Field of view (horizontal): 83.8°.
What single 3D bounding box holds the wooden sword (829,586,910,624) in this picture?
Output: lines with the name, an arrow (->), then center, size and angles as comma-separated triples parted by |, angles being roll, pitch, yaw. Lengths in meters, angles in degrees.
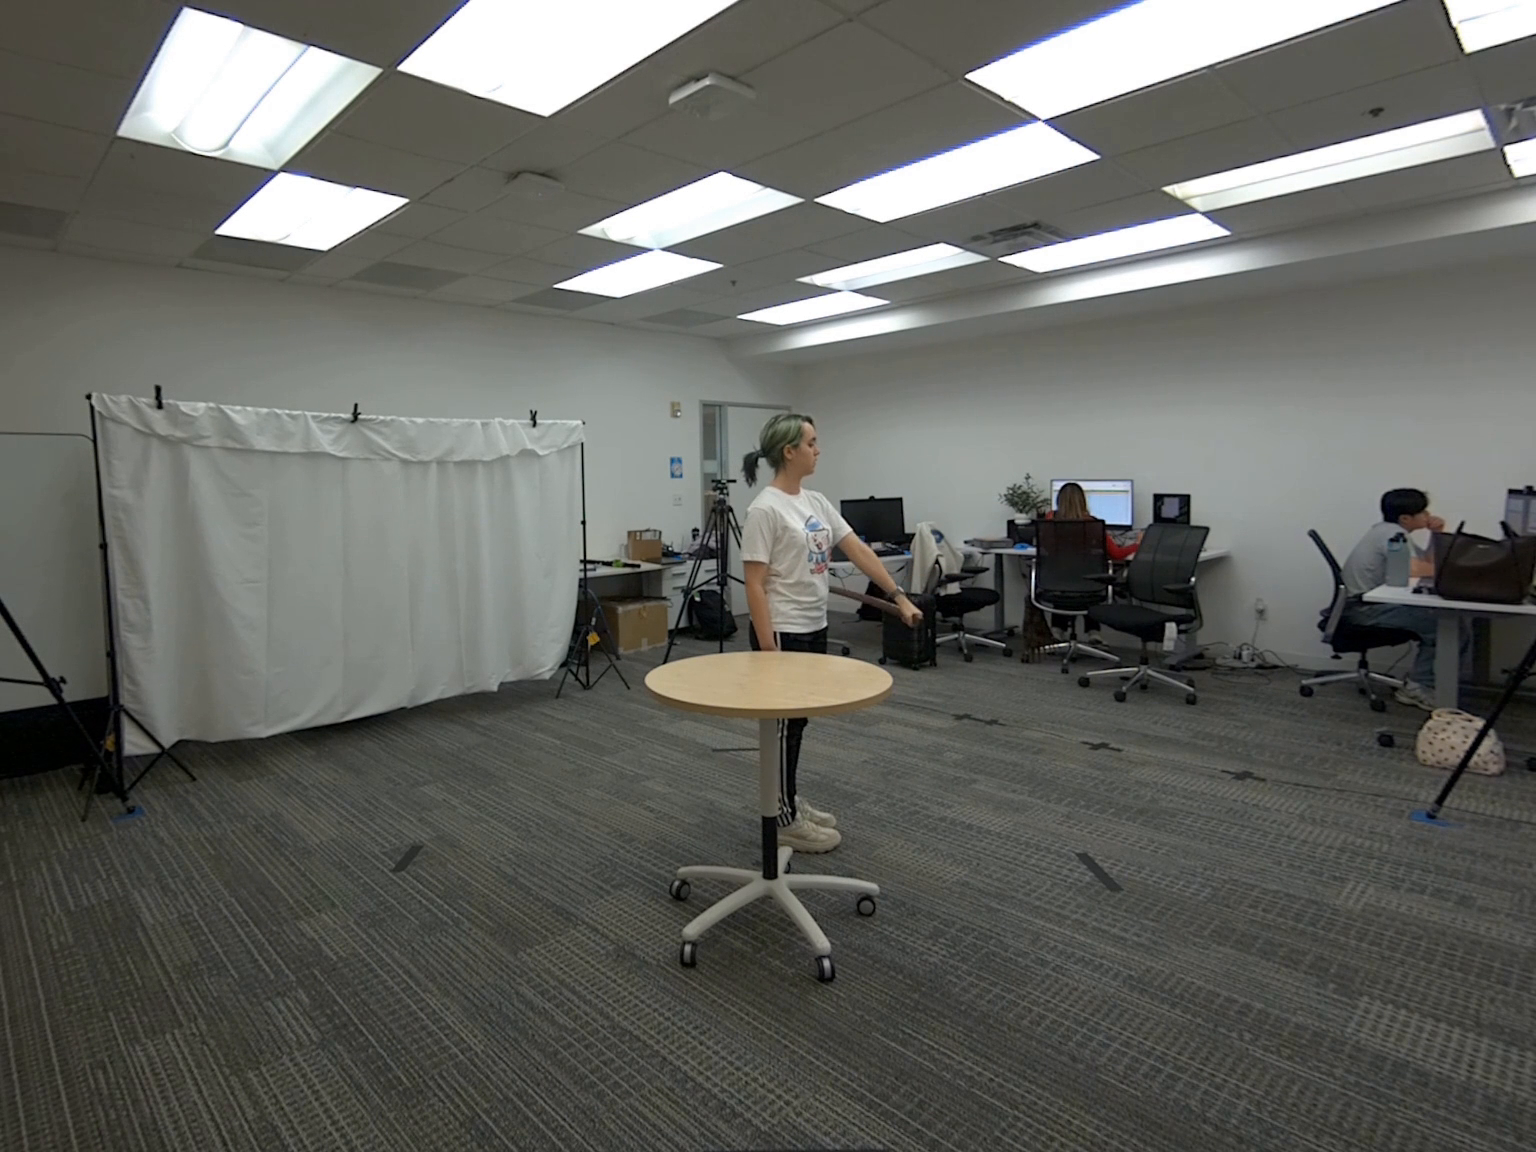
wooden sword -> 0.425, 0.116, 3.656 | 0.024, 0.051, 1.044 | -17, 10, -16
